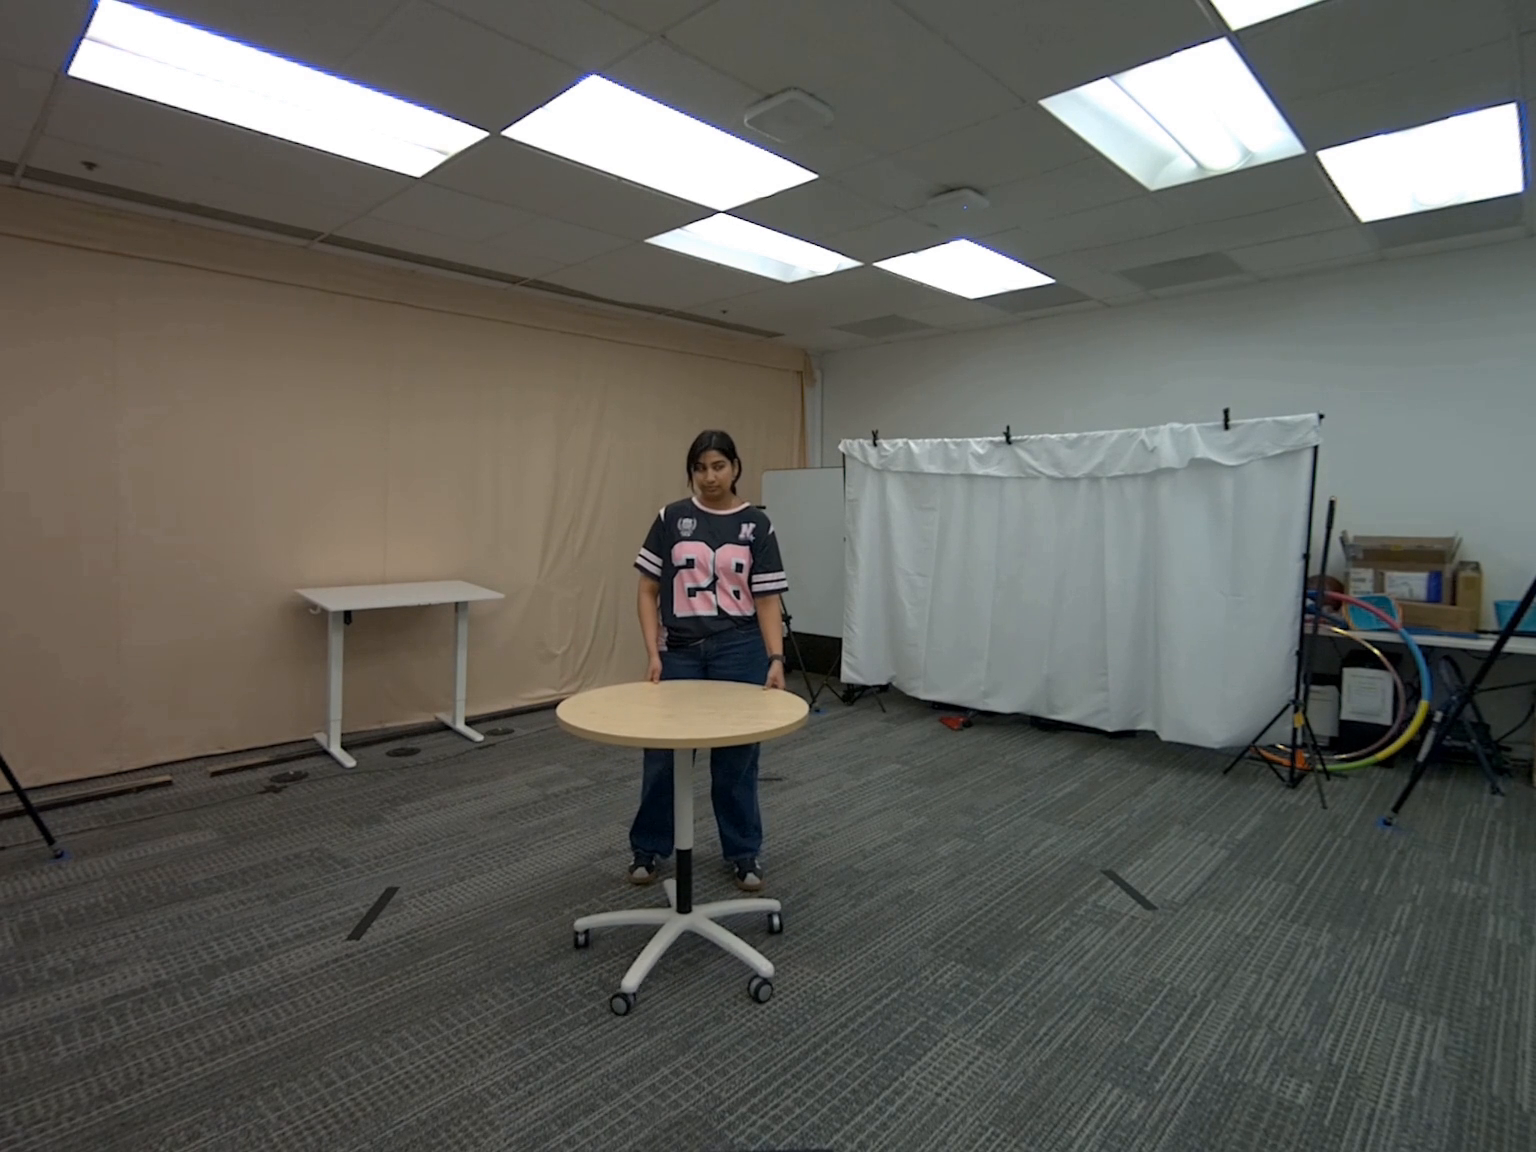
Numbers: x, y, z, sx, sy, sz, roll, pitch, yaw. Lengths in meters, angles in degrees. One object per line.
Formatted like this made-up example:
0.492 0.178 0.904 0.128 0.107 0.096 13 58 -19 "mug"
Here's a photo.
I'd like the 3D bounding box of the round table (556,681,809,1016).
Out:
-0.262 0.788 2.591 0.763 0.792 0.766 0 4 -2 "round table"
